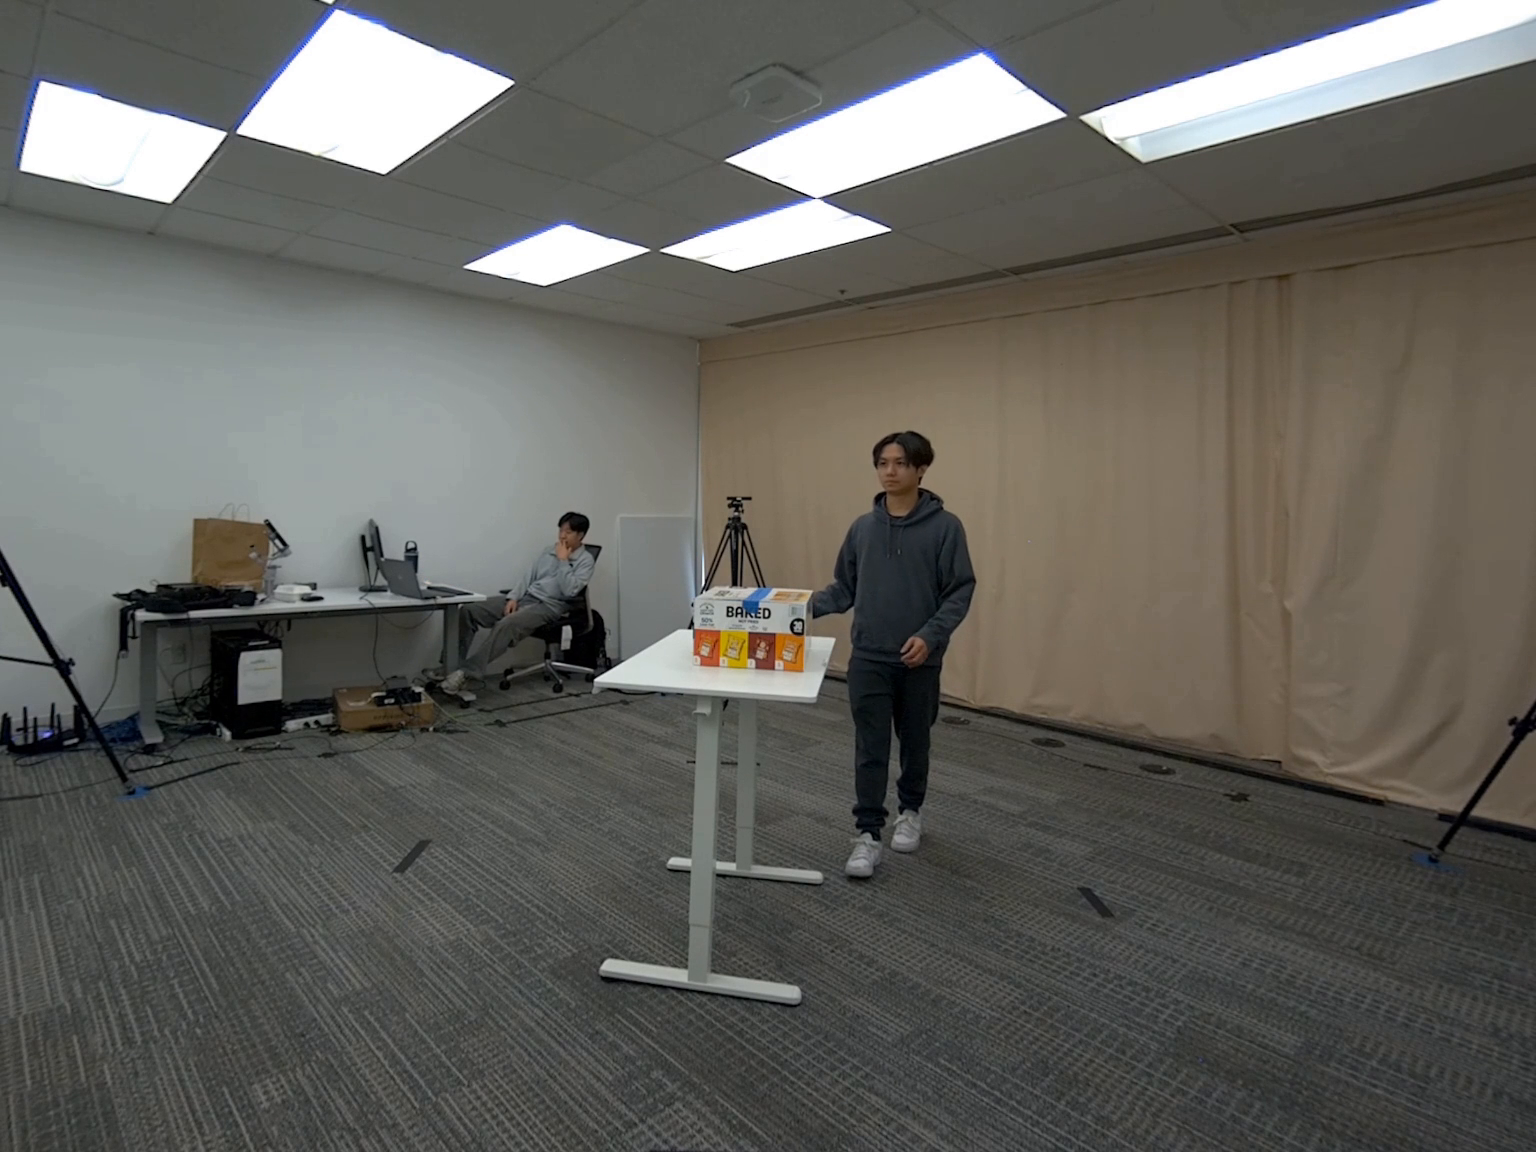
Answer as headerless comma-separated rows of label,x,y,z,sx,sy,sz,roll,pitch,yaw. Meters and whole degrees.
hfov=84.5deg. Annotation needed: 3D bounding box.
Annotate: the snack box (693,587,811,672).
snack box,-0.042,0.162,2.700,0.343,0.205,0.403,3,4,8
